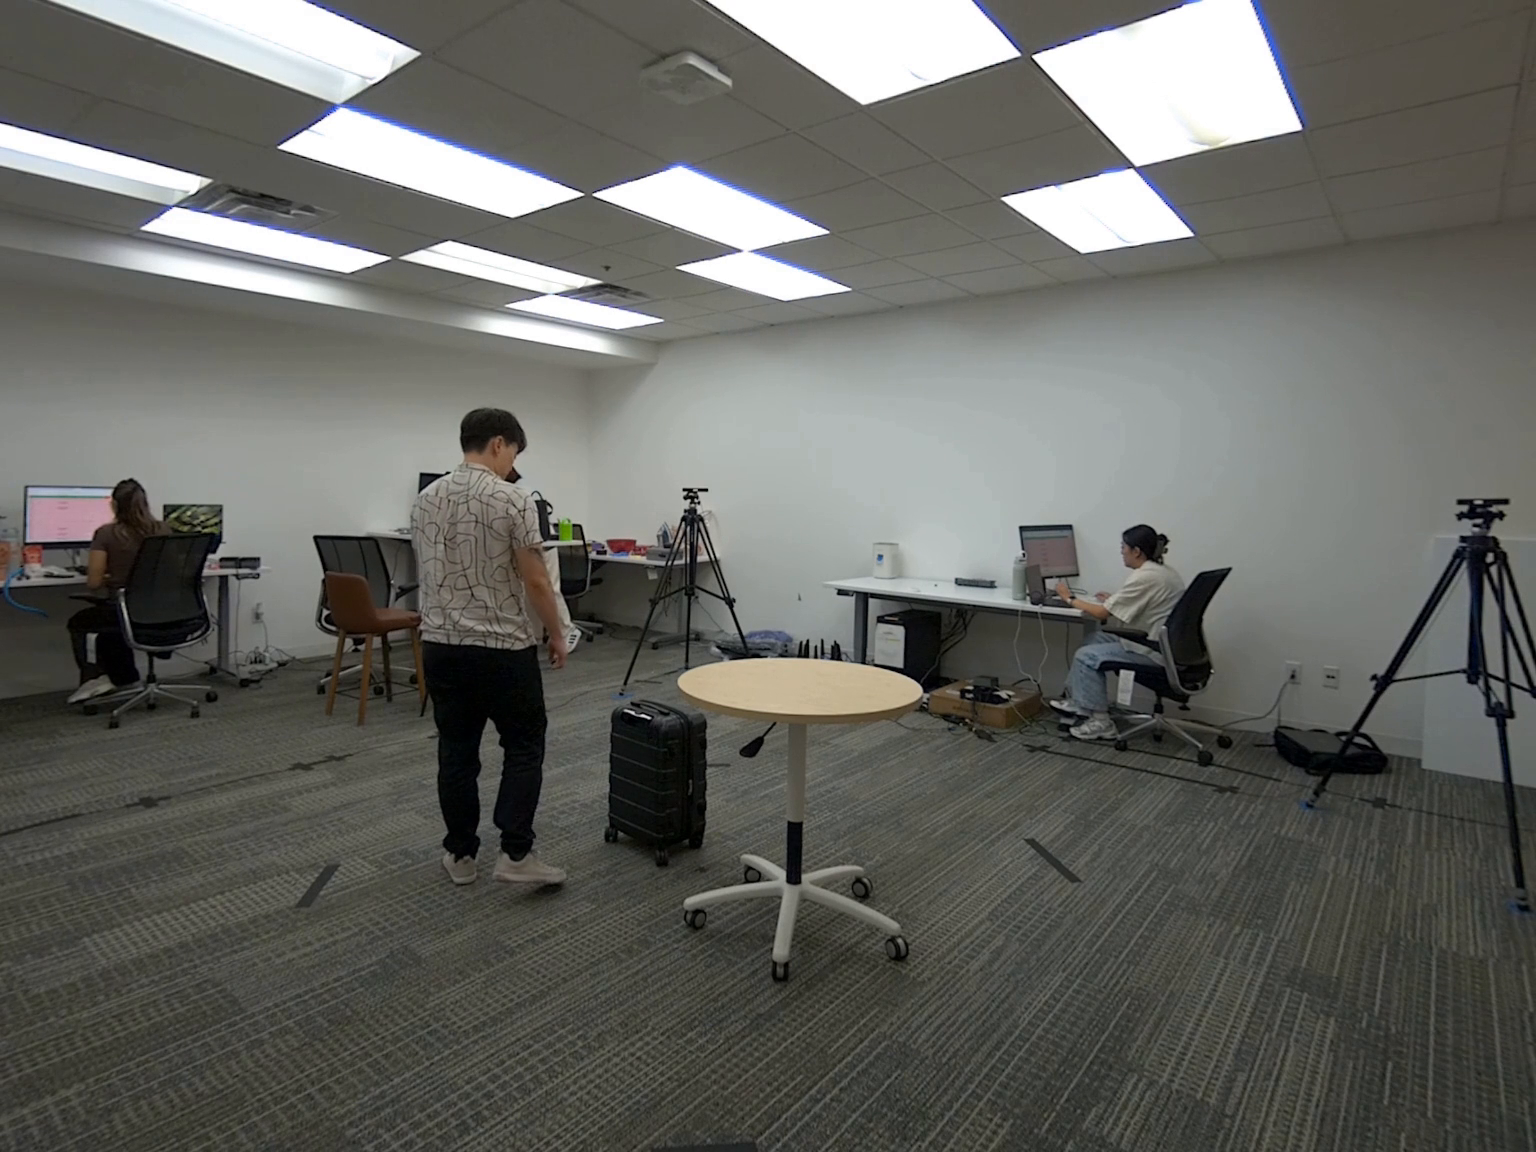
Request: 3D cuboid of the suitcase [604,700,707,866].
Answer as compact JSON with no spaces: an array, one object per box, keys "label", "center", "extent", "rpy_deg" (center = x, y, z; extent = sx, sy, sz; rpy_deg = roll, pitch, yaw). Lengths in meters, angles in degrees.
[{"label":"suitcase","center":[-0.447,0.767,3.329],"extent":[0.388,0.549,0.240],"rpy_deg":[3,2,44]}]
